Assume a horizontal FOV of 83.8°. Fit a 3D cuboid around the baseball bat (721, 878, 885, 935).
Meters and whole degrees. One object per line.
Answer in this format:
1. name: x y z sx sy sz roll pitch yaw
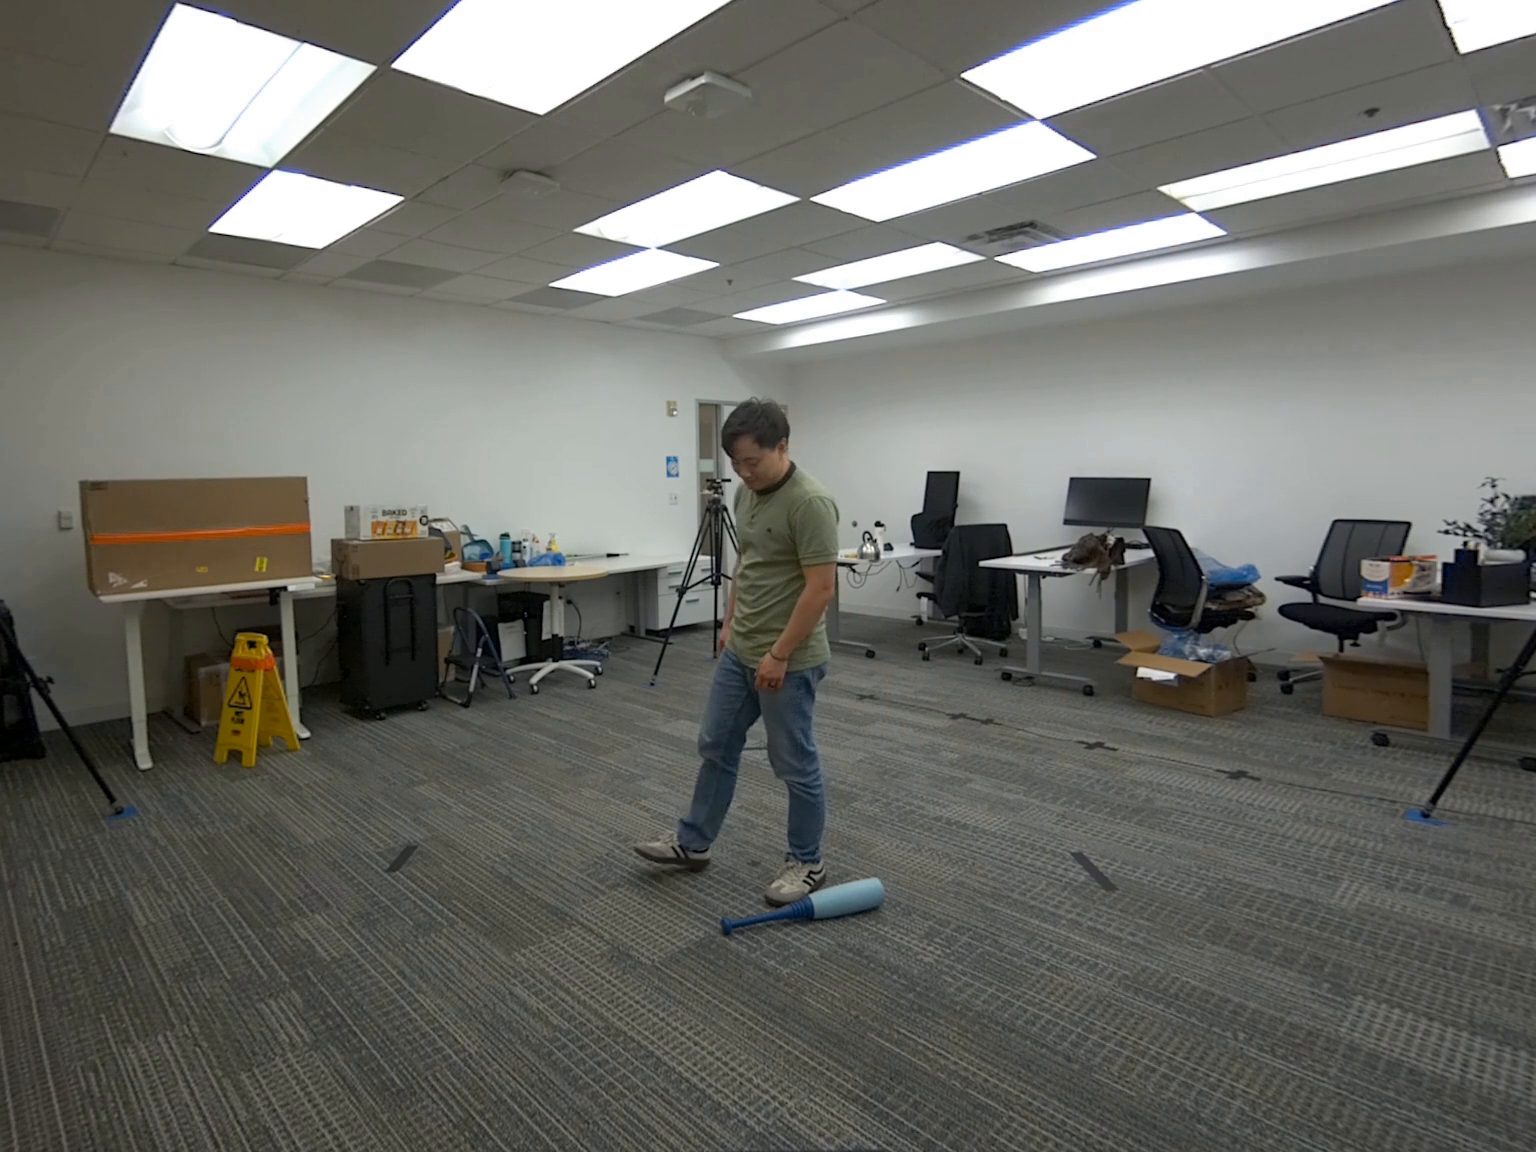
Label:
1. baseball bat: 0.118 1.052 2.700 0.535 0.088 0.091 -6 6 -16
